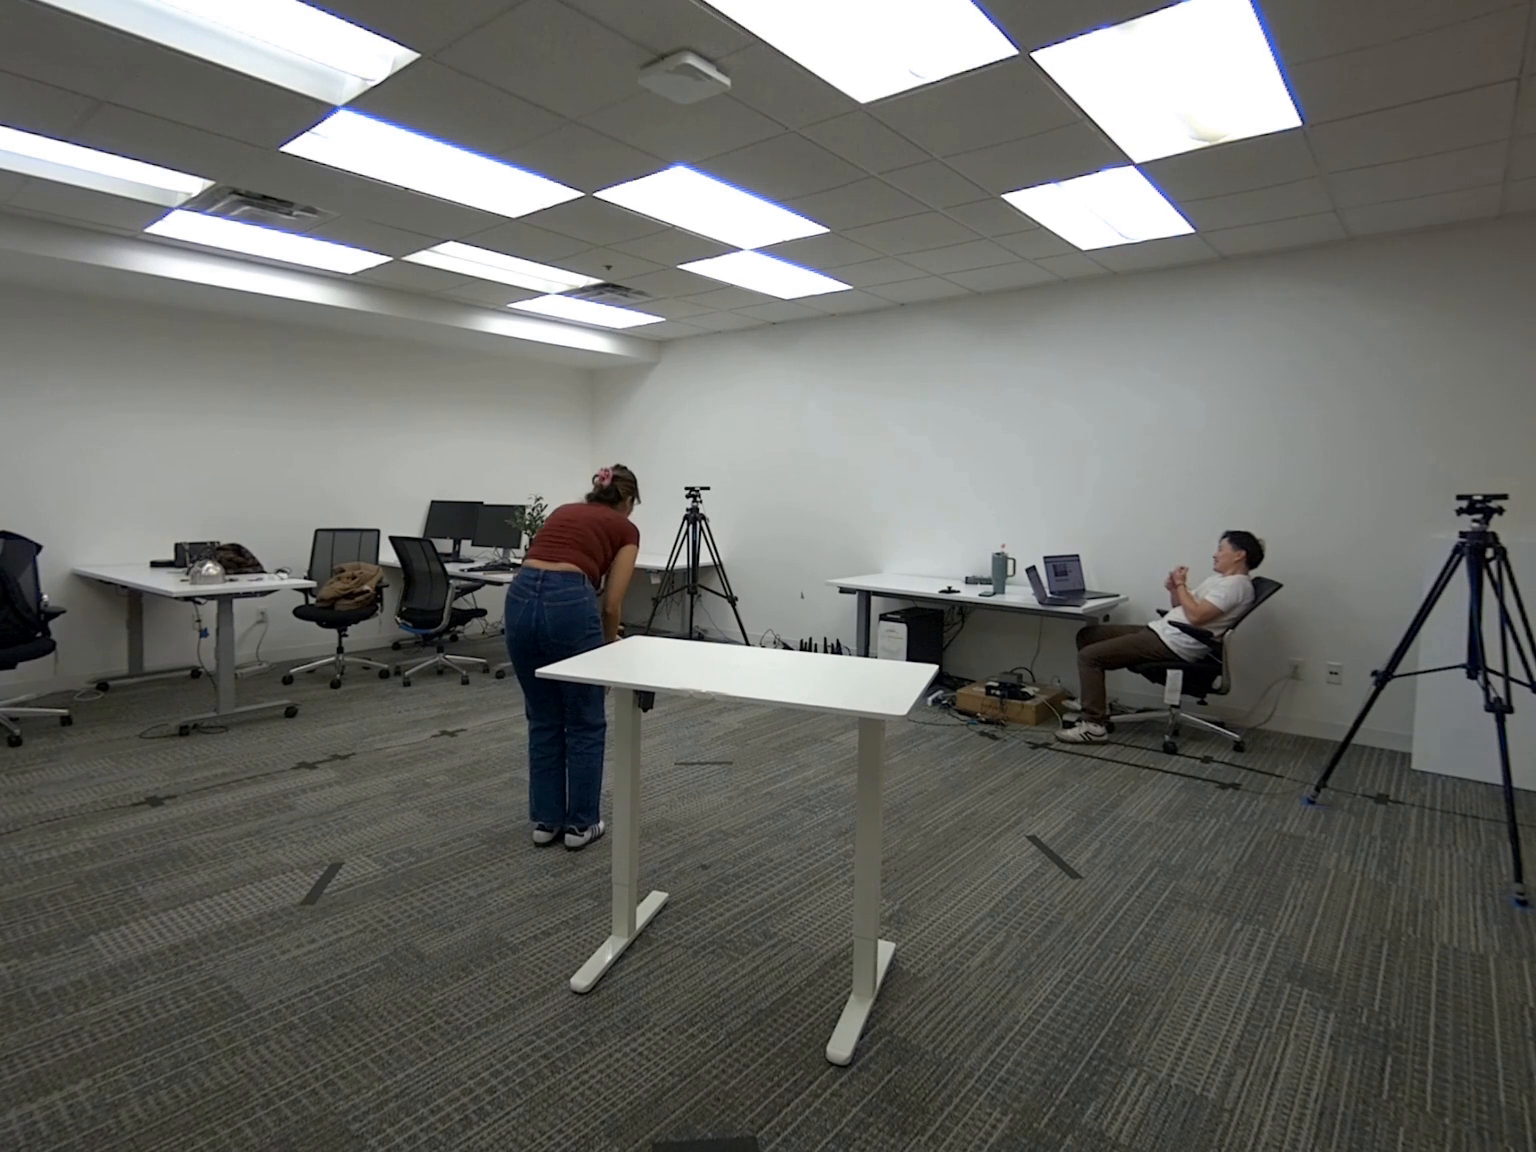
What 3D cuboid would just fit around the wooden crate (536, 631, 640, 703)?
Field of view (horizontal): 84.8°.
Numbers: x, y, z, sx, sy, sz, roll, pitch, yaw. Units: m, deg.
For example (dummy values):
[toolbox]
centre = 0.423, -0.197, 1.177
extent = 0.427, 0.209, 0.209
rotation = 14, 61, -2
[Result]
[wooden crate]
centre = -0.816, 0.358, 3.658
extent = 0.313, 0.271, 0.315
rotation = 30, 14, 29
